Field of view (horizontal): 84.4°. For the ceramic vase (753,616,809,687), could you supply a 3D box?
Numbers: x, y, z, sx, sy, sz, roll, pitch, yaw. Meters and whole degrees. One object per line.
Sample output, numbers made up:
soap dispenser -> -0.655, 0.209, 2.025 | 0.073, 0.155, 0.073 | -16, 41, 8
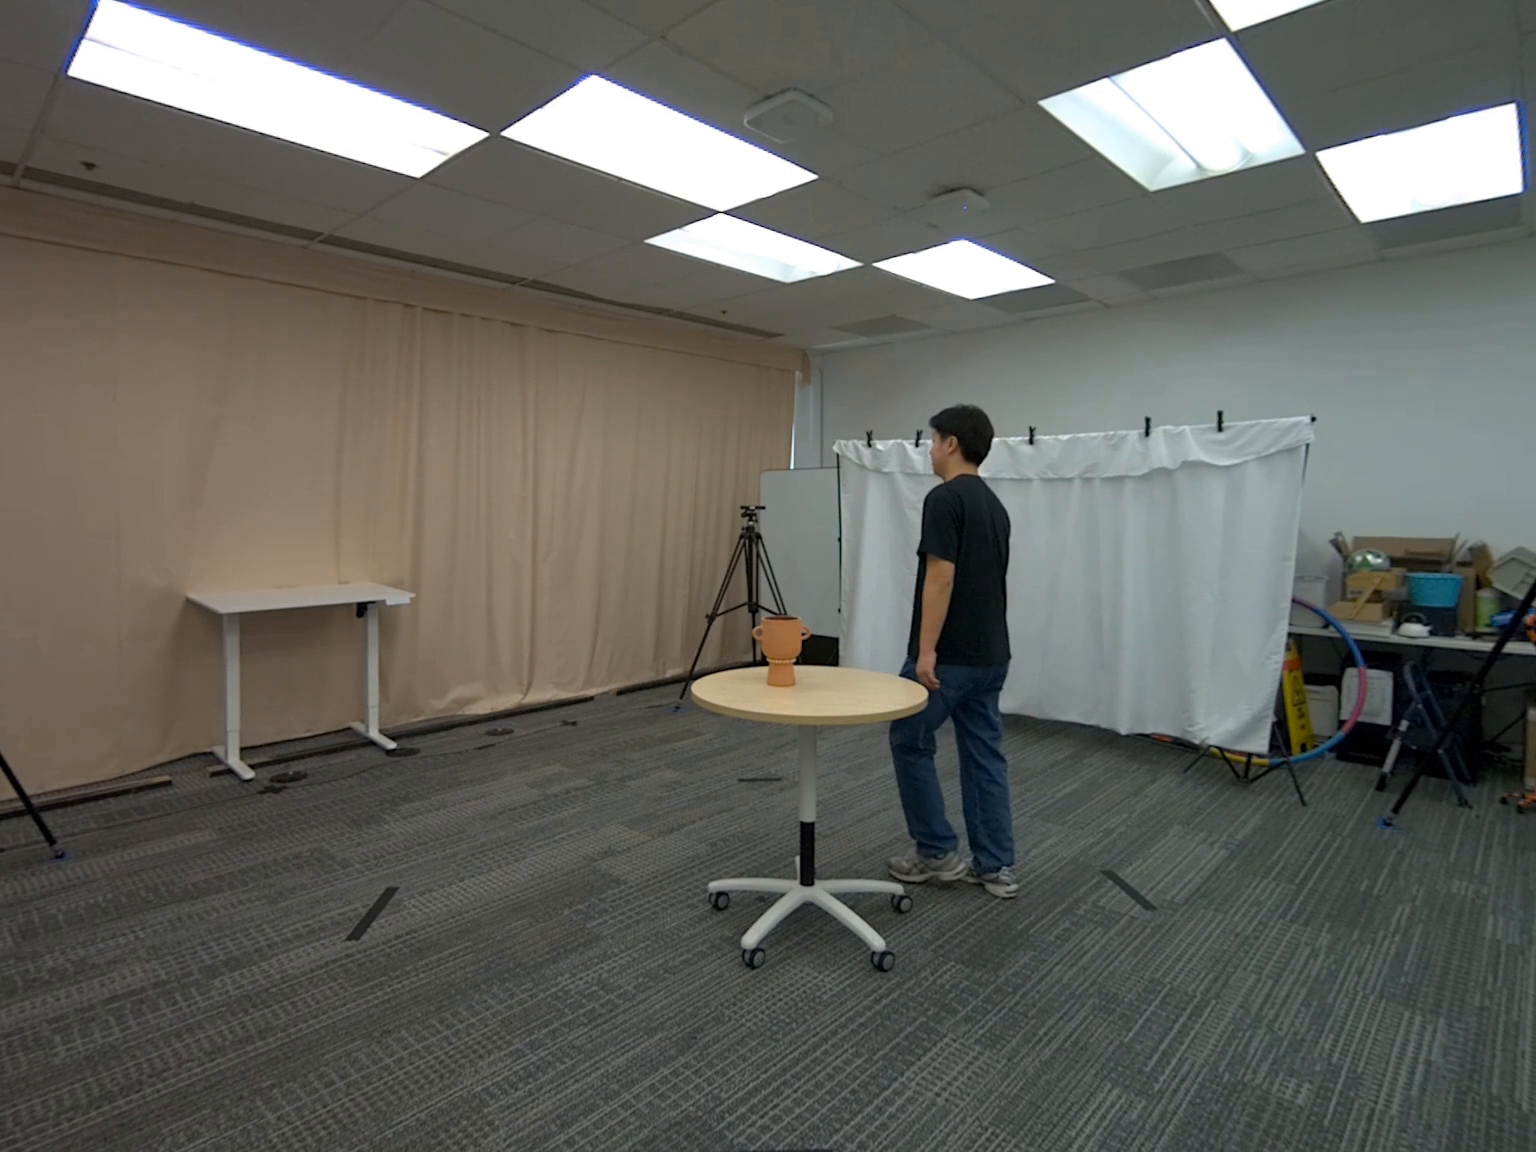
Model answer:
ceramic vase -> 0.049, 0.252, 2.813 | 0.163, 0.219, 0.131 | 1, 2, 27
